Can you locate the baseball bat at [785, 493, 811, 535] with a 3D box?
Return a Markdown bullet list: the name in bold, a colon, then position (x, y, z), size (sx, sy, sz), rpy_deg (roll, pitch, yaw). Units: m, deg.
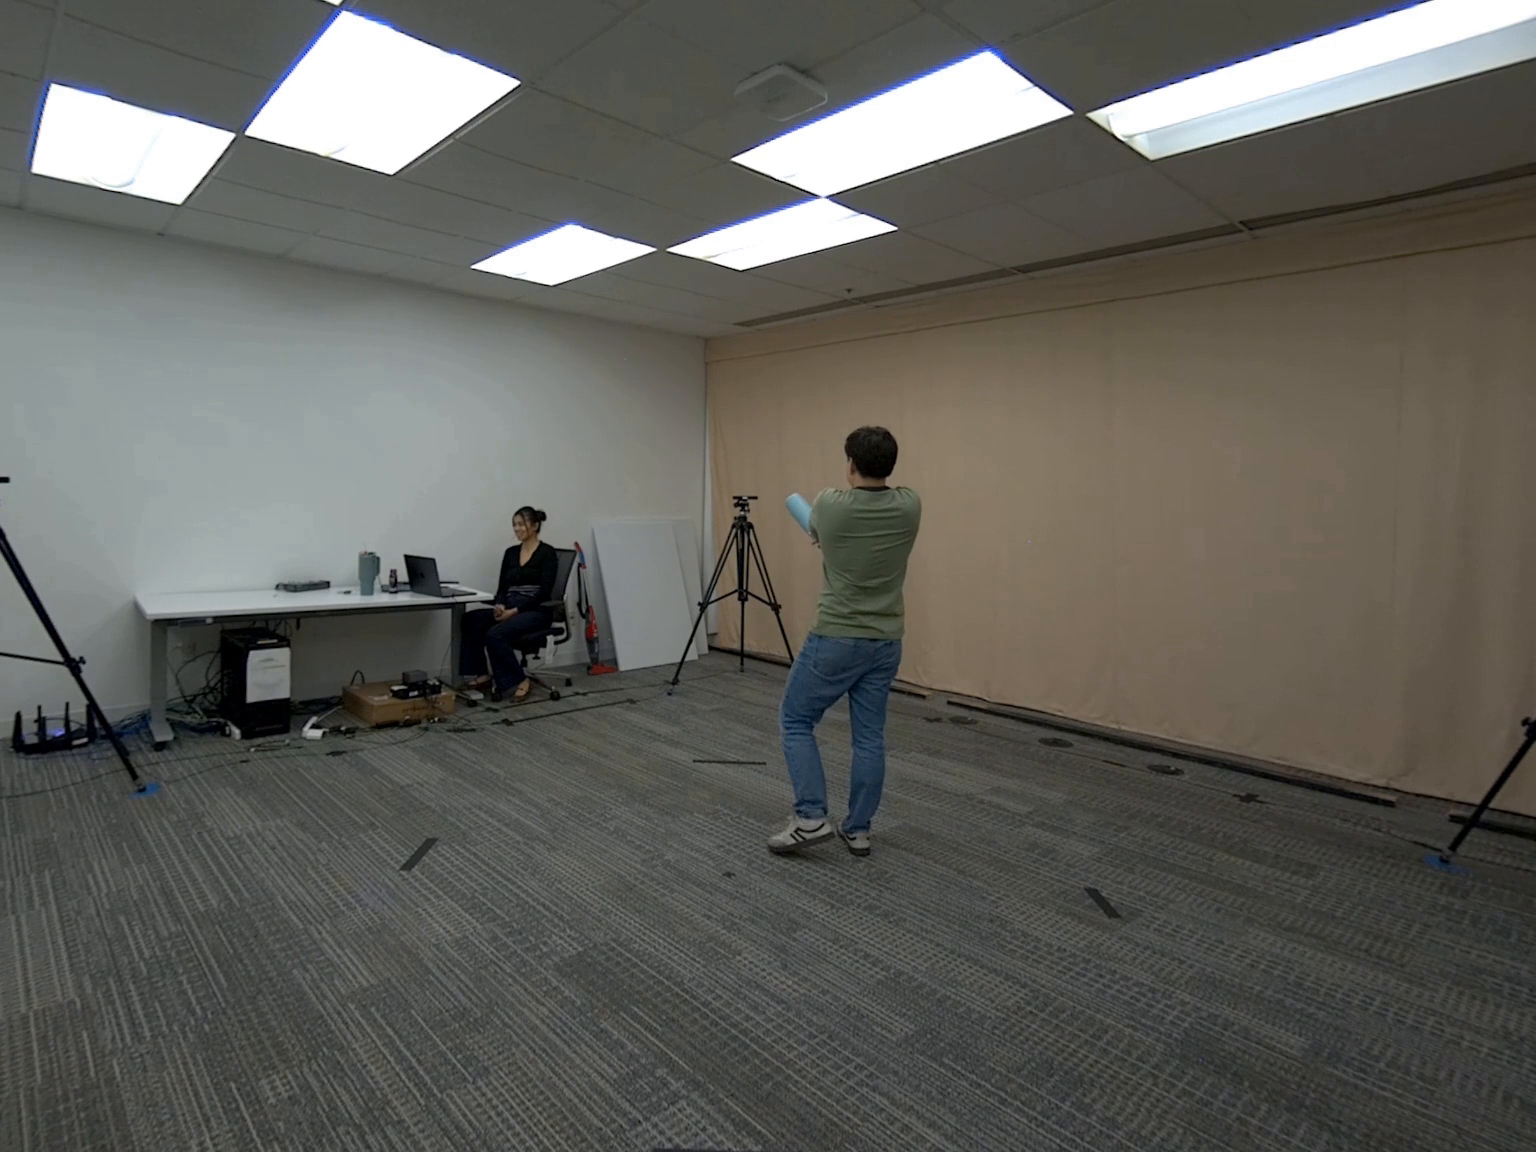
- **baseball bat**: position (0.255, -0.157, 3.781), size (0.088, 0.556, 0.087), rpy_deg (-28, -24, -15)
